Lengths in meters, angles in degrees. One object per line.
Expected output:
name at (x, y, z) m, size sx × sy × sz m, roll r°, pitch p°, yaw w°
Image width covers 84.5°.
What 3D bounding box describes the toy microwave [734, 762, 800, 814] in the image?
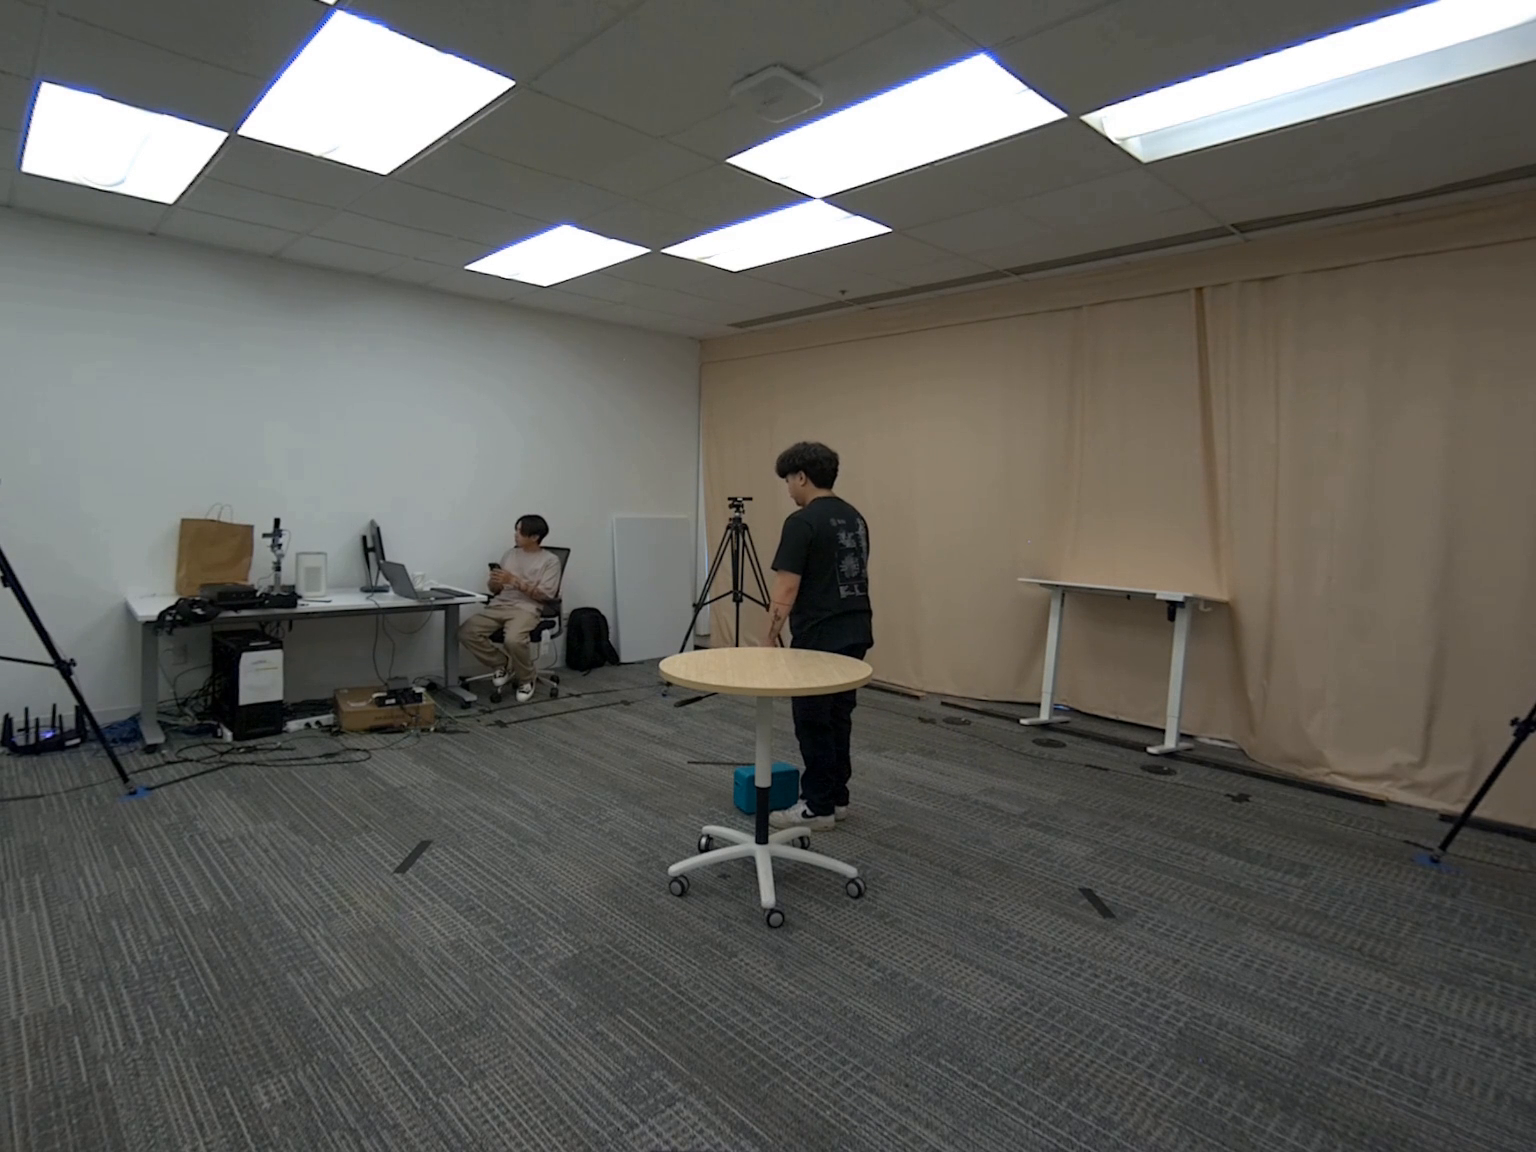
toy microwave at (-0.012, 0.949, 3.804) m, size 0.281 × 0.184 × 0.155 m, roll -1°, pitch 3°, yaw -25°
